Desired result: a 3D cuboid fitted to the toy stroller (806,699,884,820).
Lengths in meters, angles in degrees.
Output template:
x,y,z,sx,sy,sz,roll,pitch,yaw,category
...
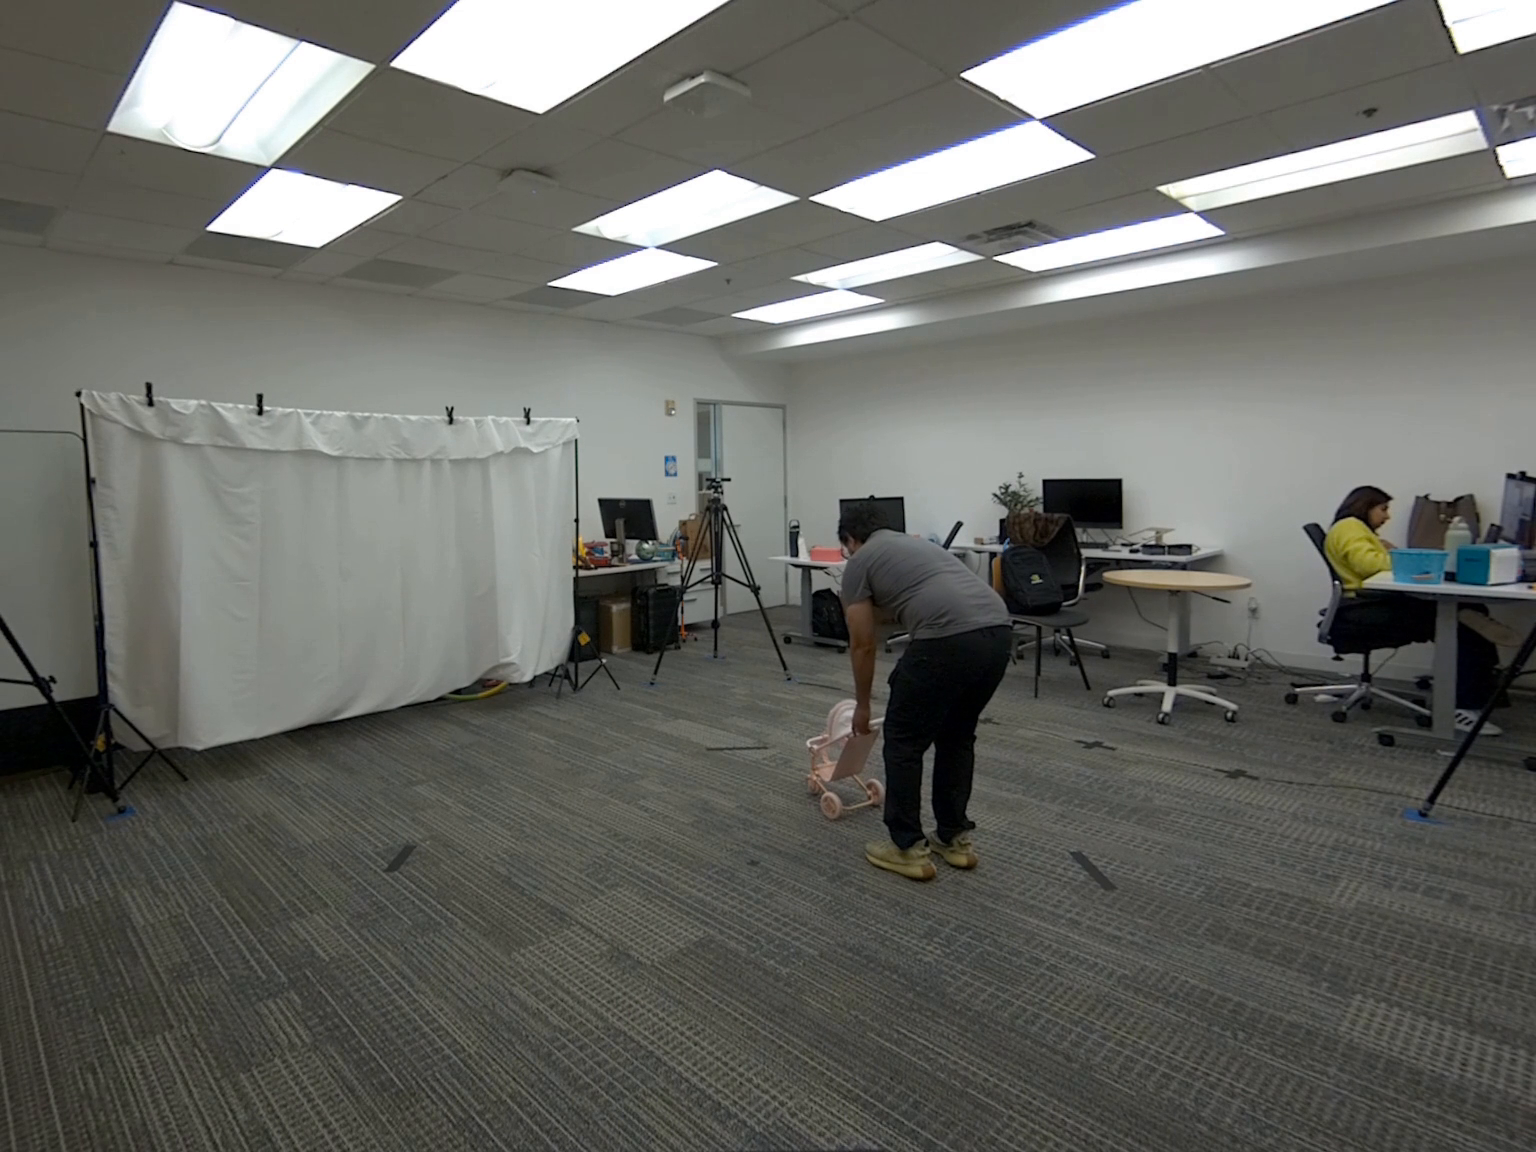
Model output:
x,y,z,sx,sy,sz,roll,pitch,yaw,category
0.322,0.756,3.605,0.274,0.528,0.354,-3,21,-33,toy stroller
